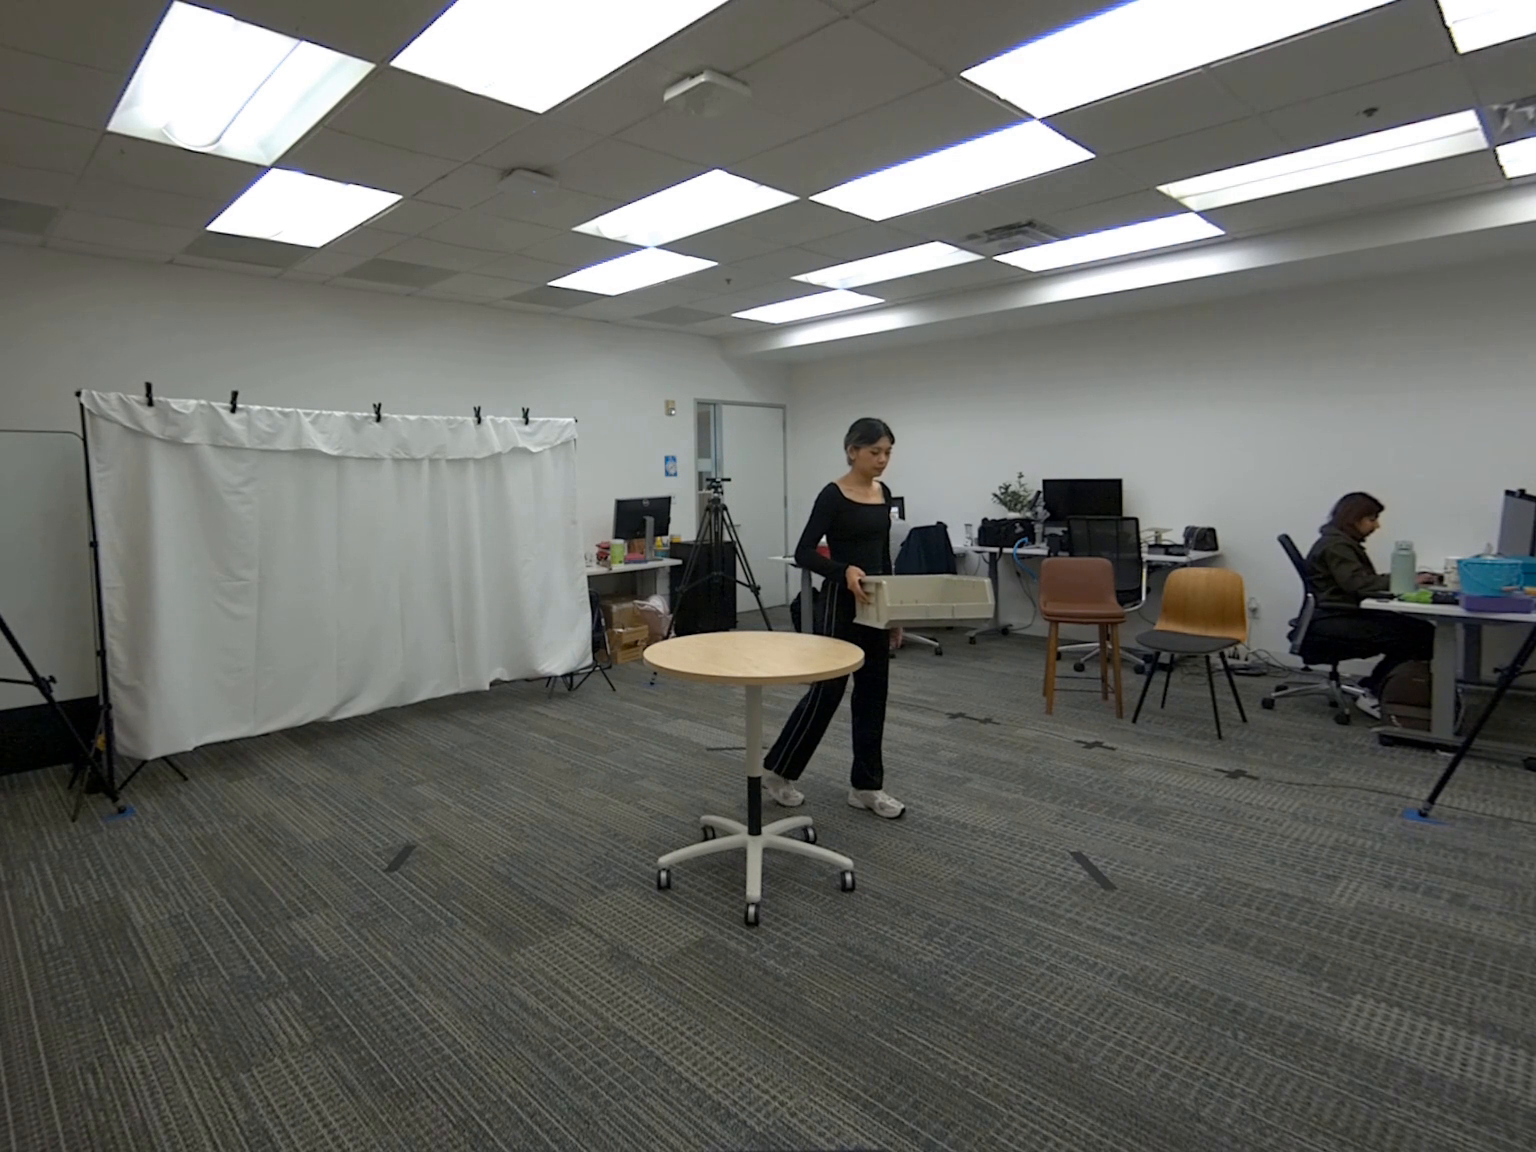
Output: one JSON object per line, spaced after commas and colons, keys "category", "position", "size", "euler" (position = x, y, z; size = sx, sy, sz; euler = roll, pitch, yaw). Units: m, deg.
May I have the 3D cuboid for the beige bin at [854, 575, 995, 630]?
{"category": "beige bin", "position": [0.577, 0.101, 3.257], "size": [0.418, 0.189, 0.381], "euler": [-1, 1, -12]}
